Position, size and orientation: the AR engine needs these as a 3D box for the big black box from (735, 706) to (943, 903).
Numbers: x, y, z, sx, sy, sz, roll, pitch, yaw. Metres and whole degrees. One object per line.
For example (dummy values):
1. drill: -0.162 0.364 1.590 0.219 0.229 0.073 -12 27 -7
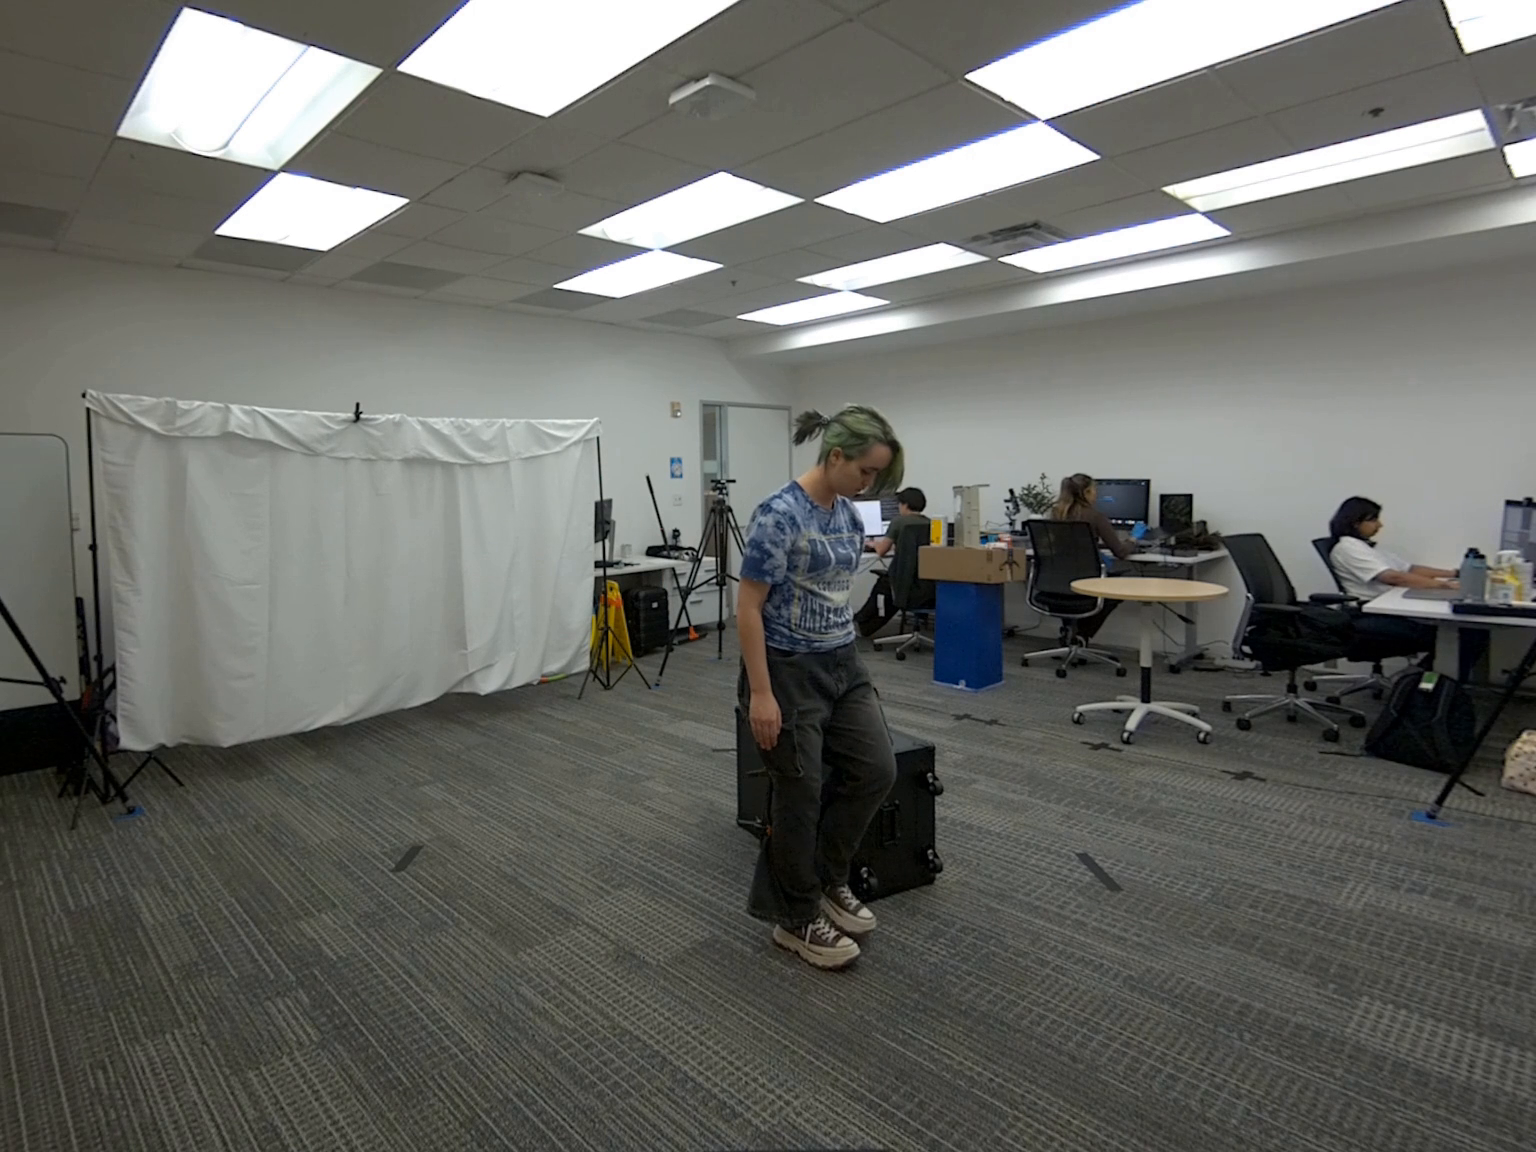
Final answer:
1. big black box: 0.254 0.793 3.163 0.387 0.519 0.885 -3 6 -29
